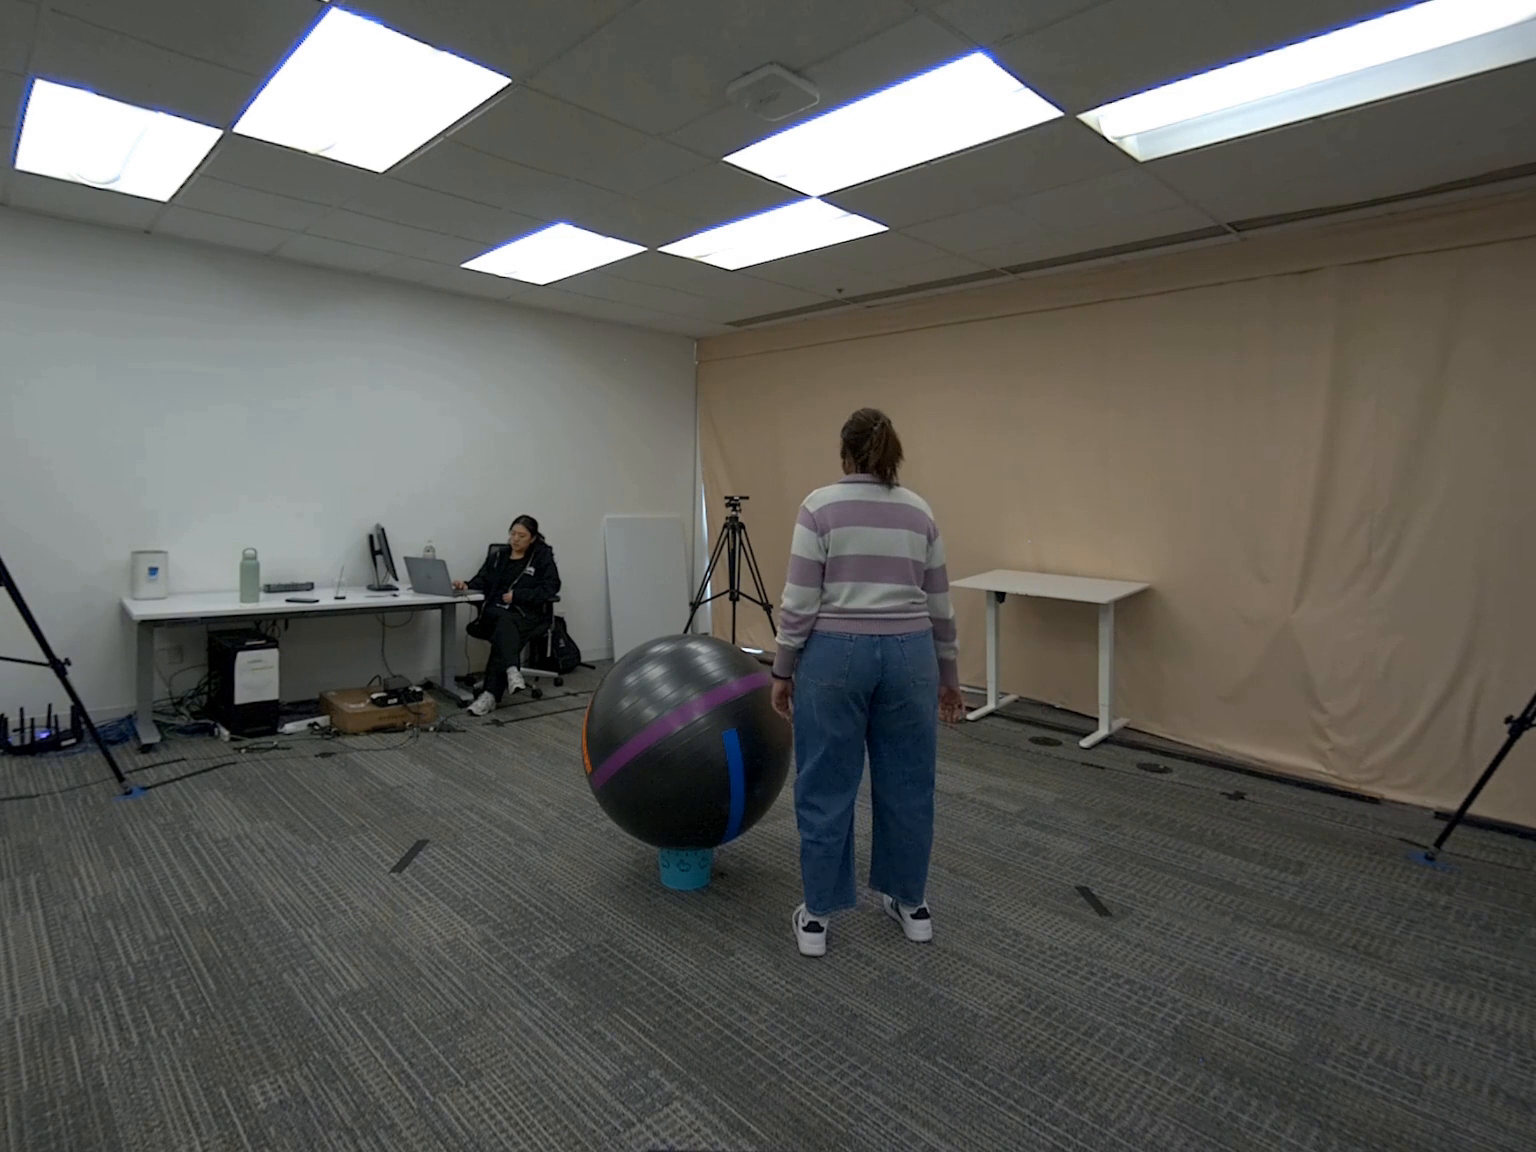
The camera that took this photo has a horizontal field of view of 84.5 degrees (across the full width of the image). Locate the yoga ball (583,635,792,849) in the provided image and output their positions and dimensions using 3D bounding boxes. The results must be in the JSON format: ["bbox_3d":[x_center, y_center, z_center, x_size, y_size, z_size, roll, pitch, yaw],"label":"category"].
[{"bbox_3d":[-0.295,0.593,3.048,0.757,0.756,0.761,1,4,-1],"label":"yoga ball"}]
